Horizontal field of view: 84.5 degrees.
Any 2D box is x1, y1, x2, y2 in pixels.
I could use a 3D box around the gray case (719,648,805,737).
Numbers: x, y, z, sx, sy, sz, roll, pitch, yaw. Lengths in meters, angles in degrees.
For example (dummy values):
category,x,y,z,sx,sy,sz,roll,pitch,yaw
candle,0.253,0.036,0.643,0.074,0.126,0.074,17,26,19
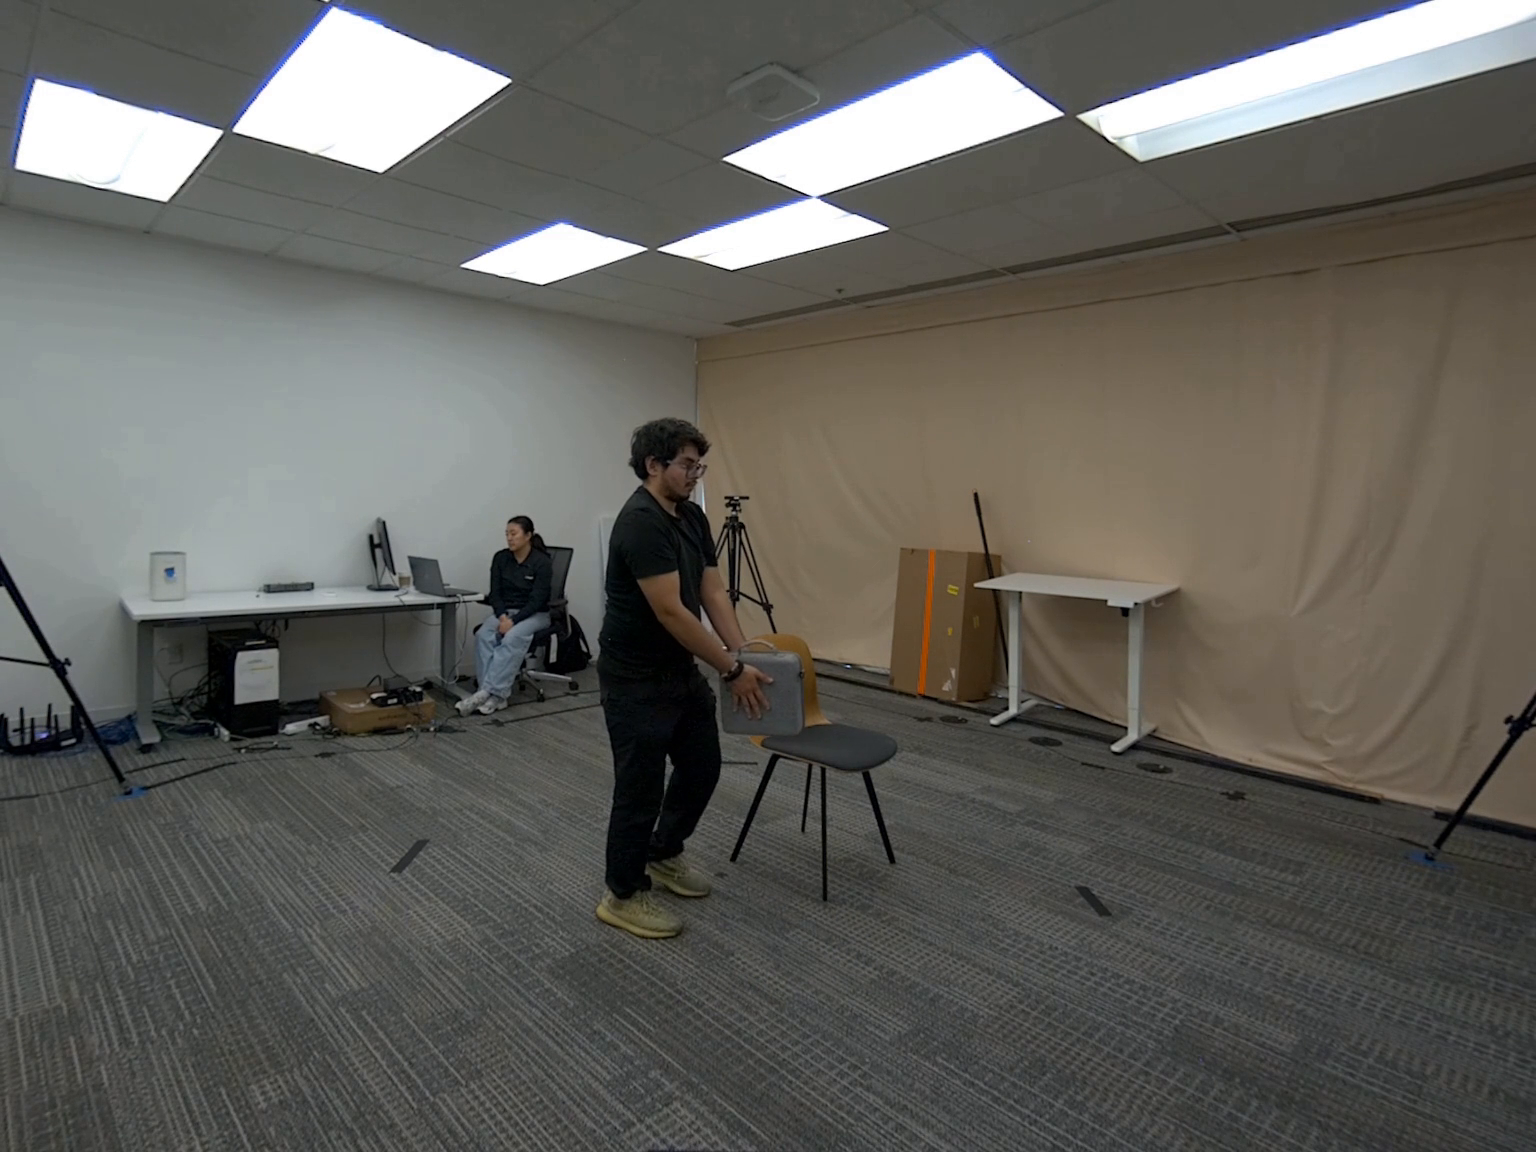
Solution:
category,x,y,z,sx,sy,sz,roll,pitch,yaw
gray case,-0.015,0.364,2.605,0.260,0.259,0.103,-2,6,17
